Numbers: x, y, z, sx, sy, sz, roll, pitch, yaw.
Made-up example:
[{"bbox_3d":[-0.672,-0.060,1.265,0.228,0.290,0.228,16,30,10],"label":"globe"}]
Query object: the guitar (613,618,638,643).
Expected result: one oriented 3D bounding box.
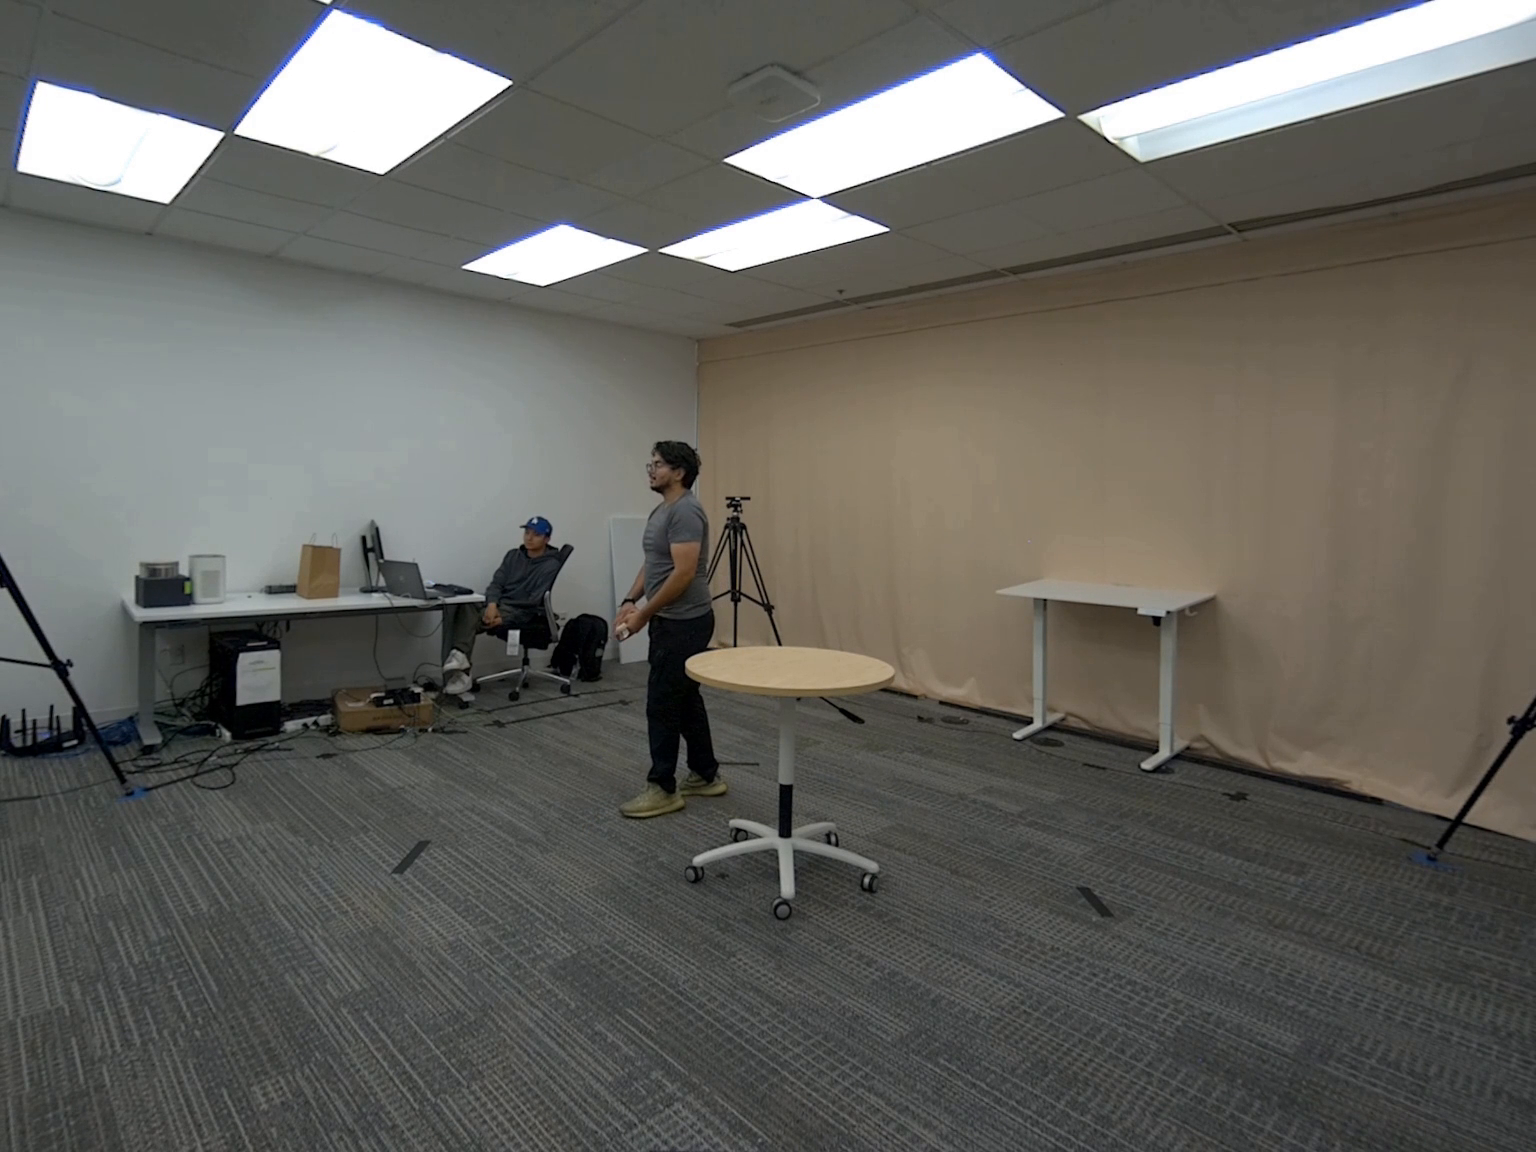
[{"bbox_3d":[-0.652,0.241,3.722,0.193,0.070,0.499,-34,6,9],"label":"guitar"}]
